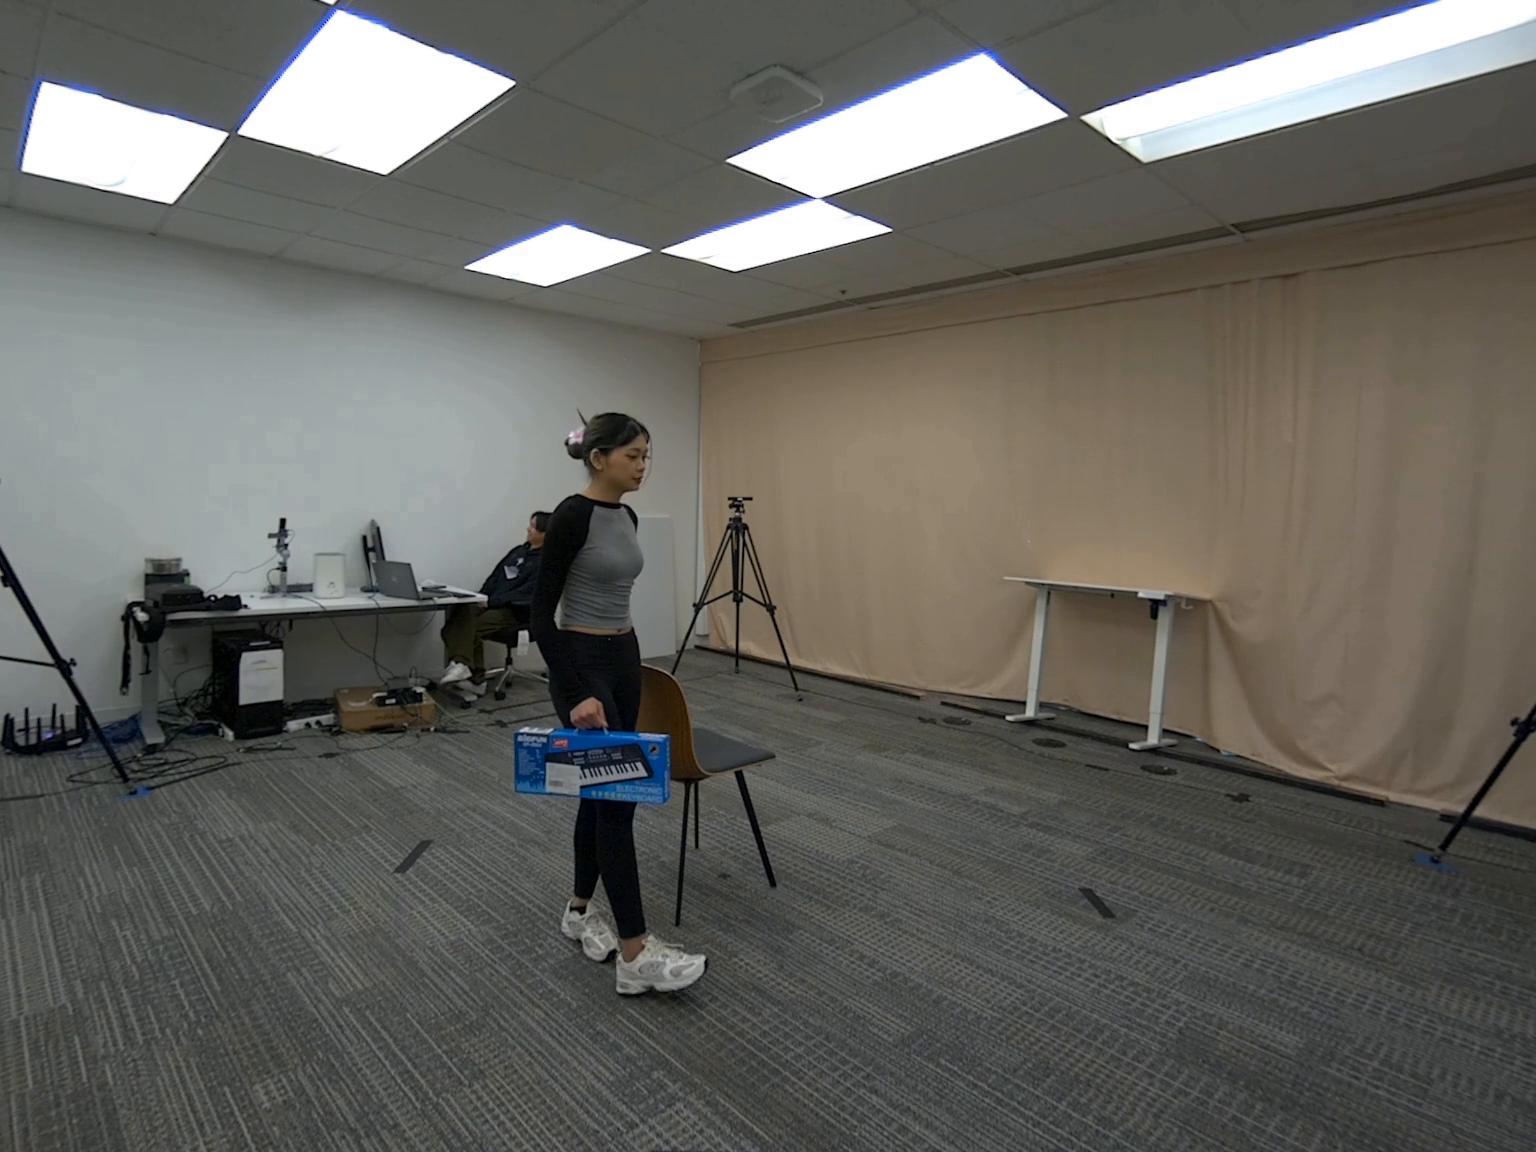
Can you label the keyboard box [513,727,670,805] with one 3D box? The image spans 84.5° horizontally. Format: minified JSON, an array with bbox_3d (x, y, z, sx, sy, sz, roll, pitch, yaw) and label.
[{"bbox_3d":[-0.497,0.518,2.310,0.442,0.175,0.058,1,3,14],"label":"keyboard box"}]
